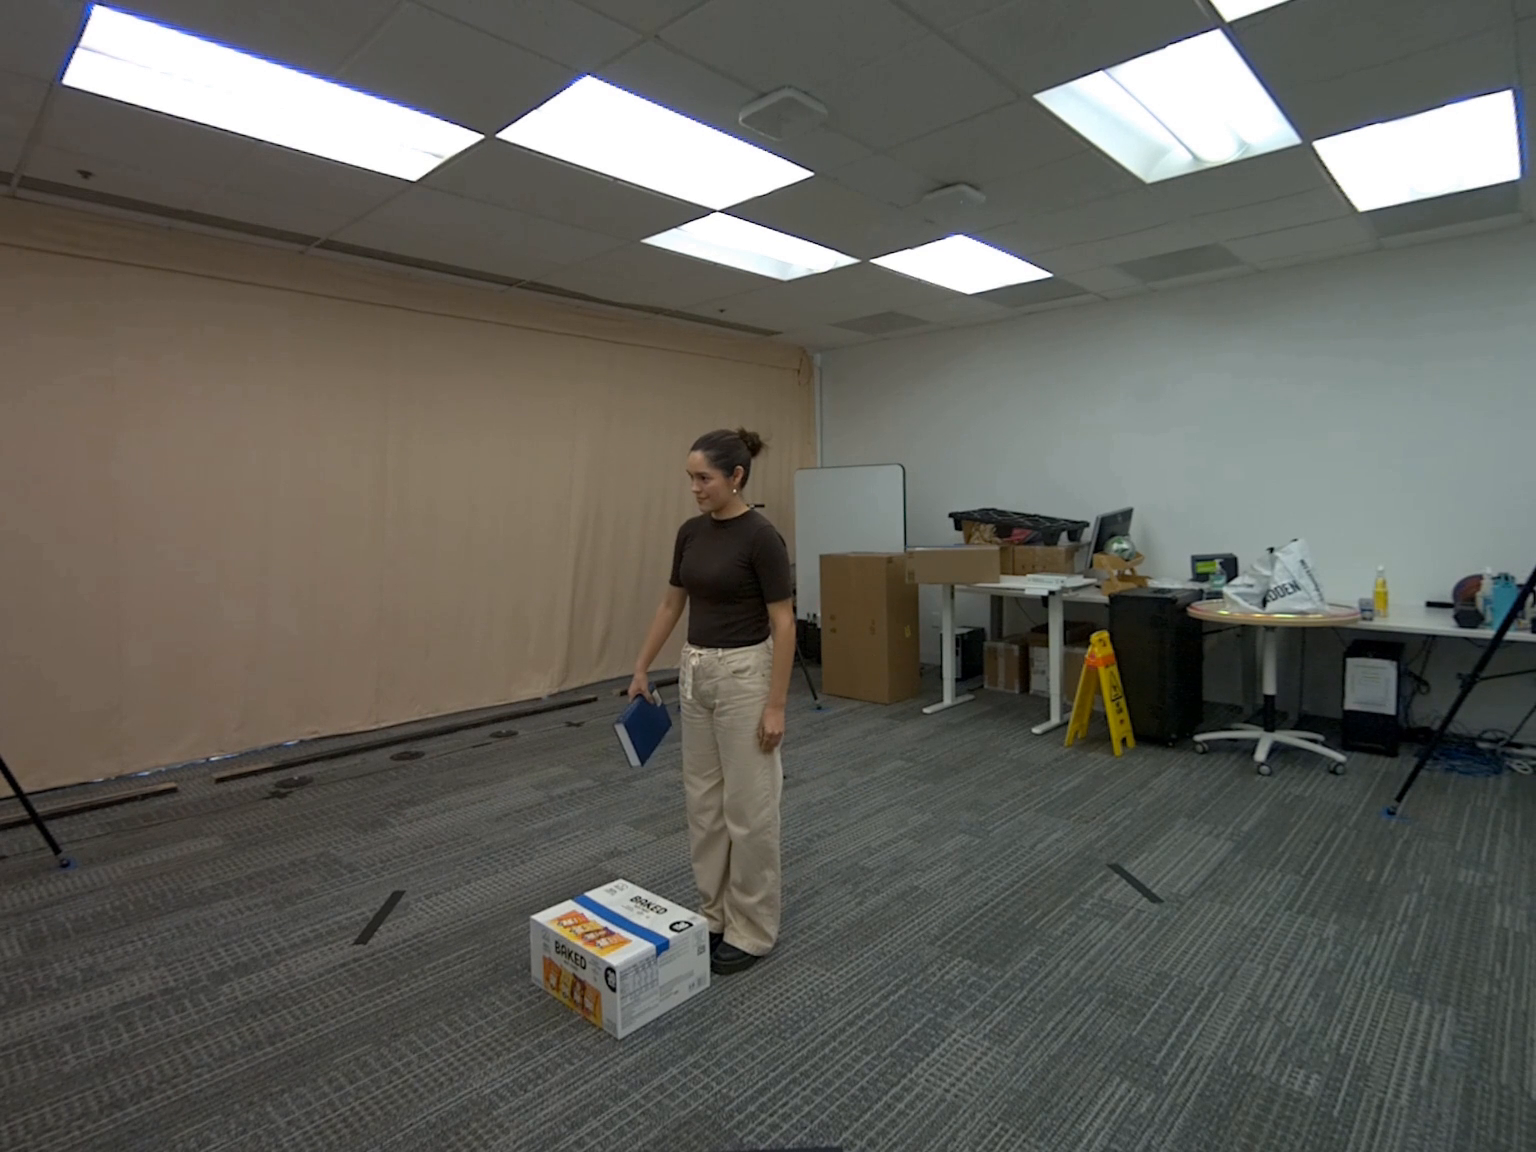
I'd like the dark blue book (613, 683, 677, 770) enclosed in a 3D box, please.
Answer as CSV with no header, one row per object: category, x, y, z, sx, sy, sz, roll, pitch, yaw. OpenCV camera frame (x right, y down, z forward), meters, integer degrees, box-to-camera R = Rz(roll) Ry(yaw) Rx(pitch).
dark blue book,-0.392,0.475,2.710,0.046,0.161,0.243,-14,16,24
